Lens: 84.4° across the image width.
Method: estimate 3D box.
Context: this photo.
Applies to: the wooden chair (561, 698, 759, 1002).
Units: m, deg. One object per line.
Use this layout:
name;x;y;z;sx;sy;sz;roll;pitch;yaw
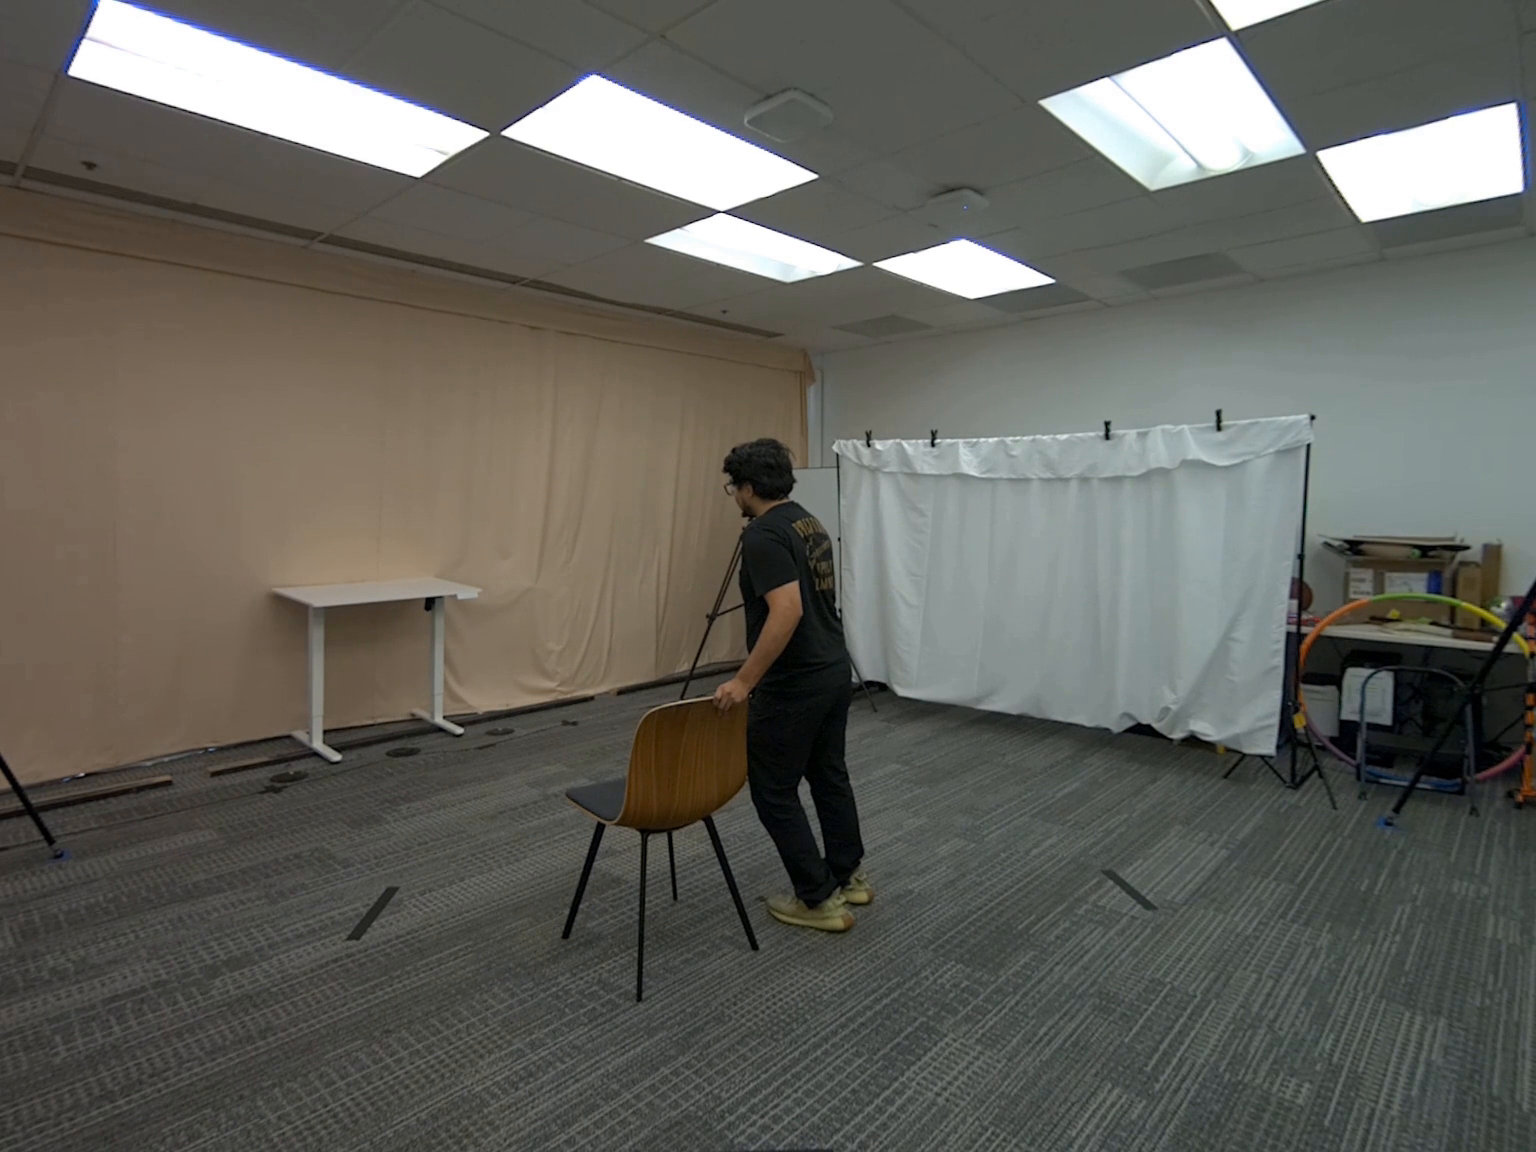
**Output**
wooden chair;-0.355;0.749;2.652;0.463;0.874;0.541;-2;8;-40
